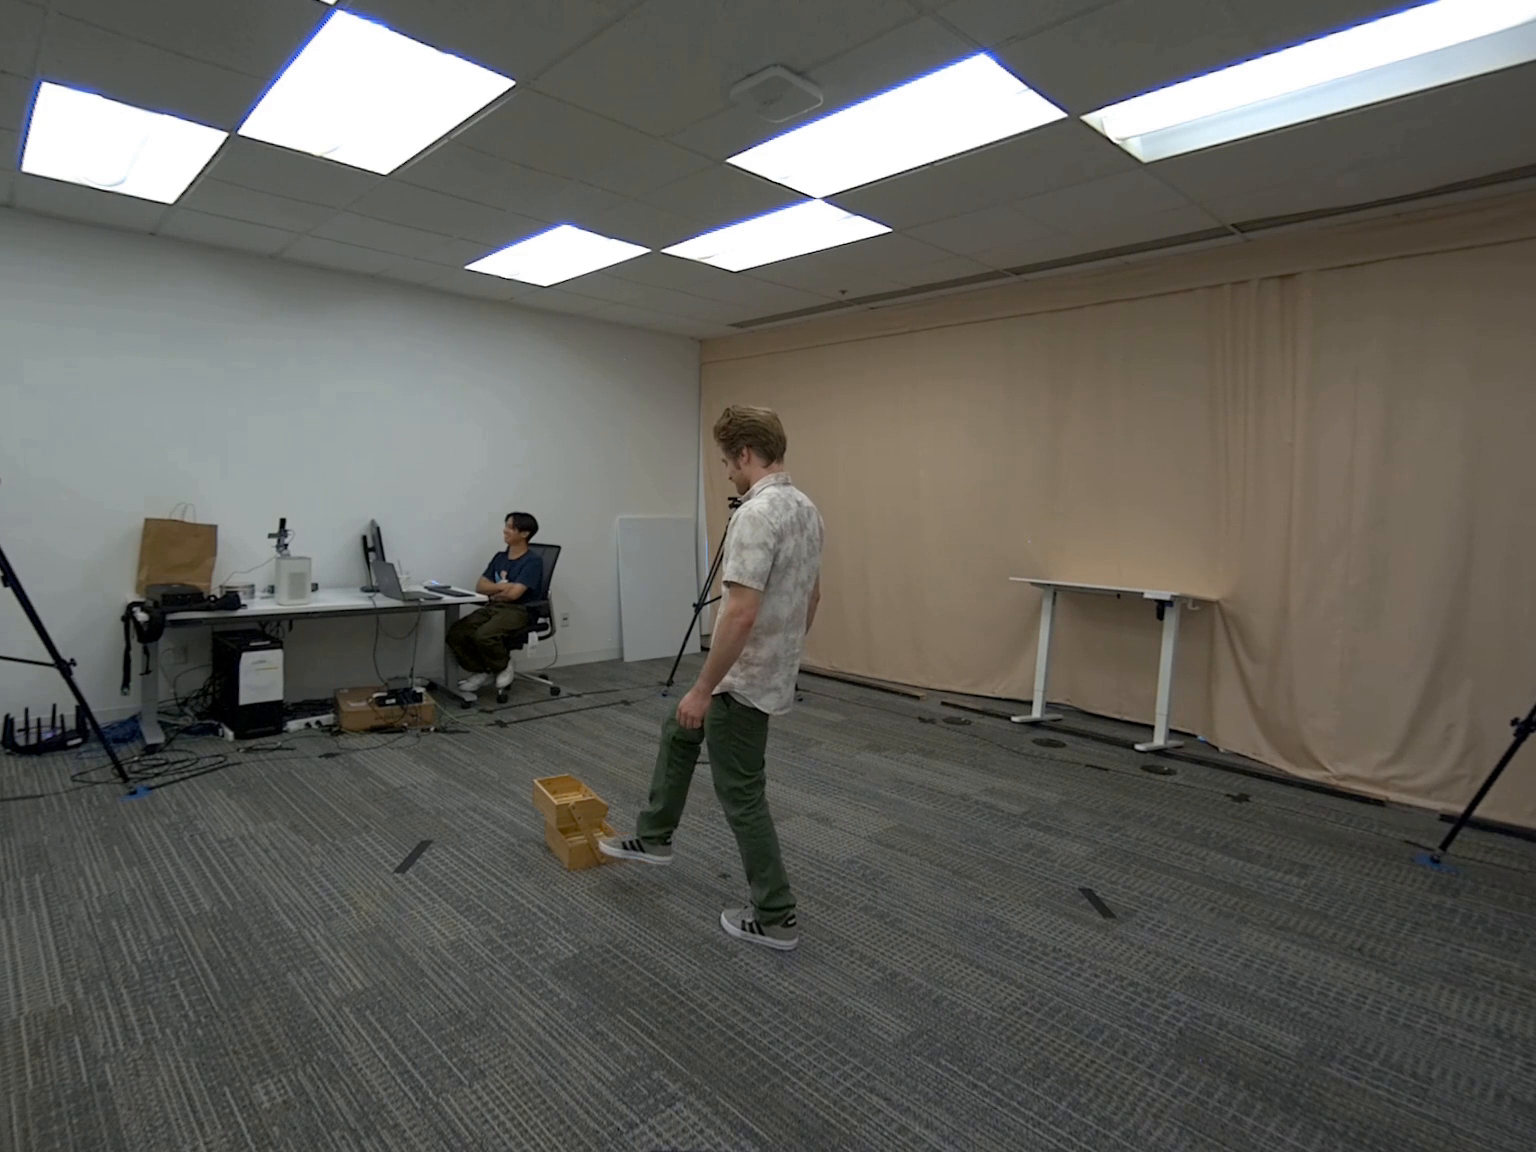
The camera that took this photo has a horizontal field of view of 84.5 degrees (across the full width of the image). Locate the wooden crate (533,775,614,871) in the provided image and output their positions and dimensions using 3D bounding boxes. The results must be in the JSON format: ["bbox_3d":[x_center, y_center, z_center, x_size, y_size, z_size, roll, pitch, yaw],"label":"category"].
[{"bbox_3d":[-0.738,0.943,3.290,0.296,0.272,0.332,-2,6,-31],"label":"wooden crate"}]
